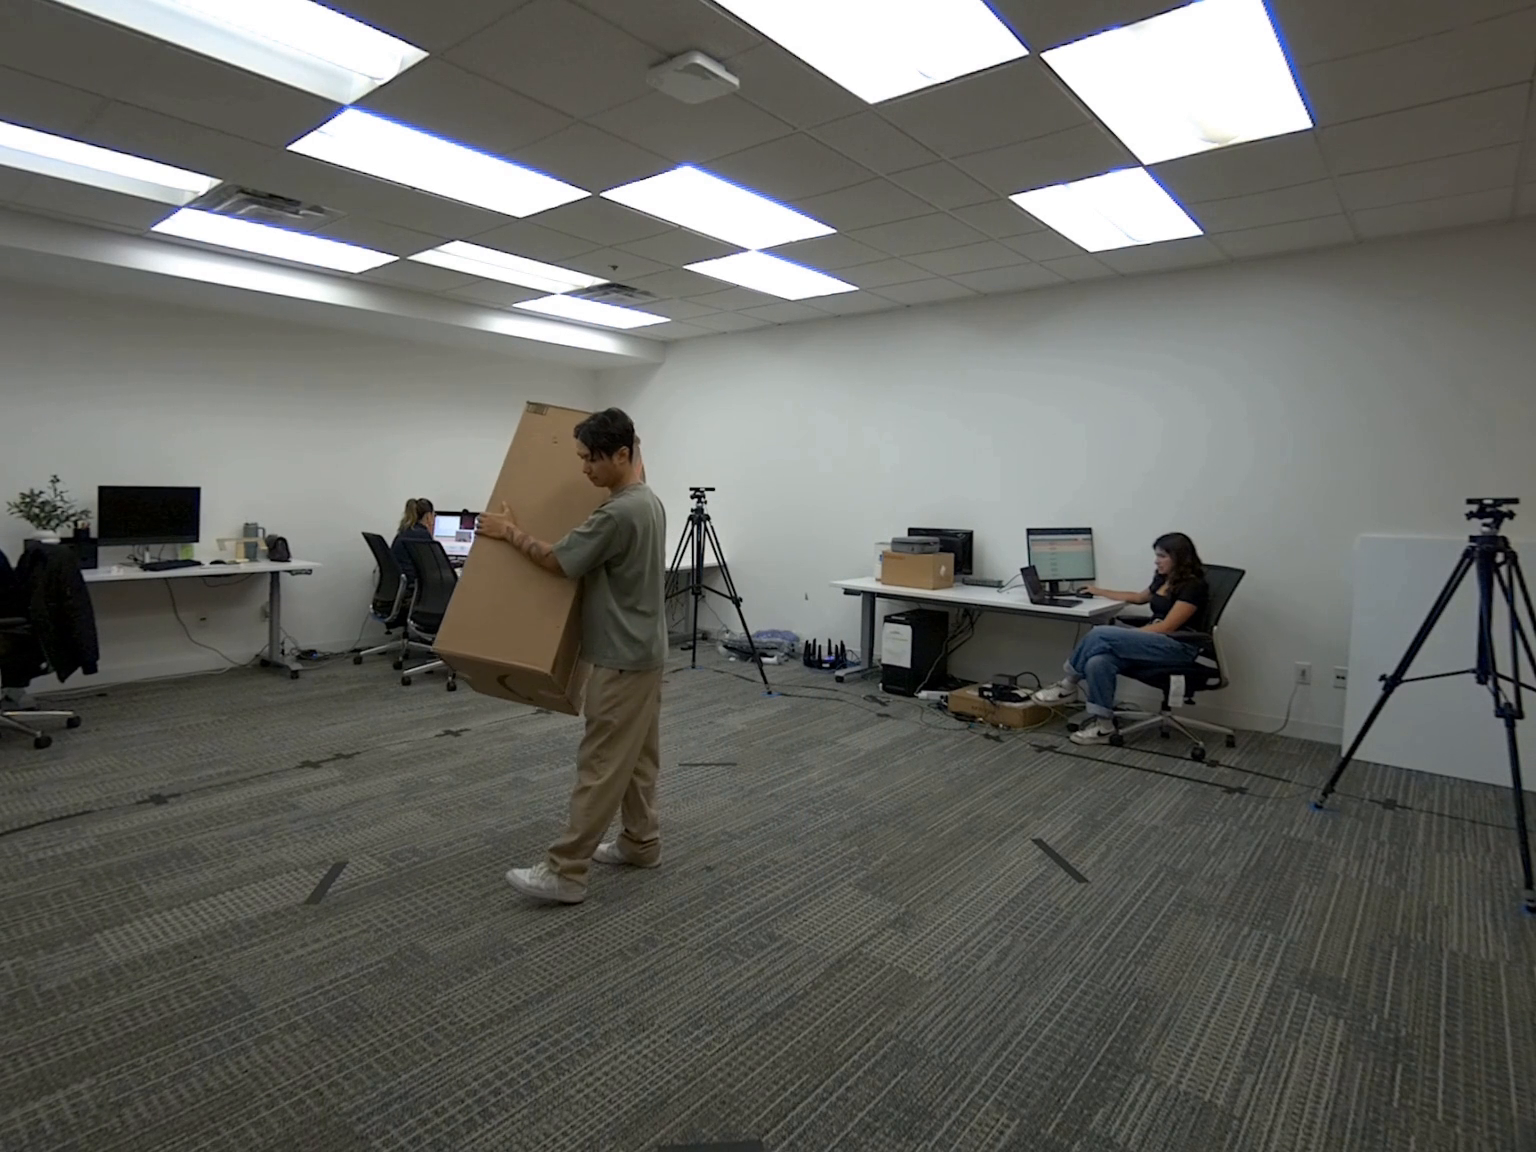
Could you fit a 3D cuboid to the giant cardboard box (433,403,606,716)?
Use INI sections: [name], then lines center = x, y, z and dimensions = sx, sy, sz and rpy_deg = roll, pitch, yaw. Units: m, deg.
[giant cardboard box]
center = -0.840, -0.060, 3.273
dimensions = 0.429, 1.042, 0.565
rpy_deg = 11, -24, 4
